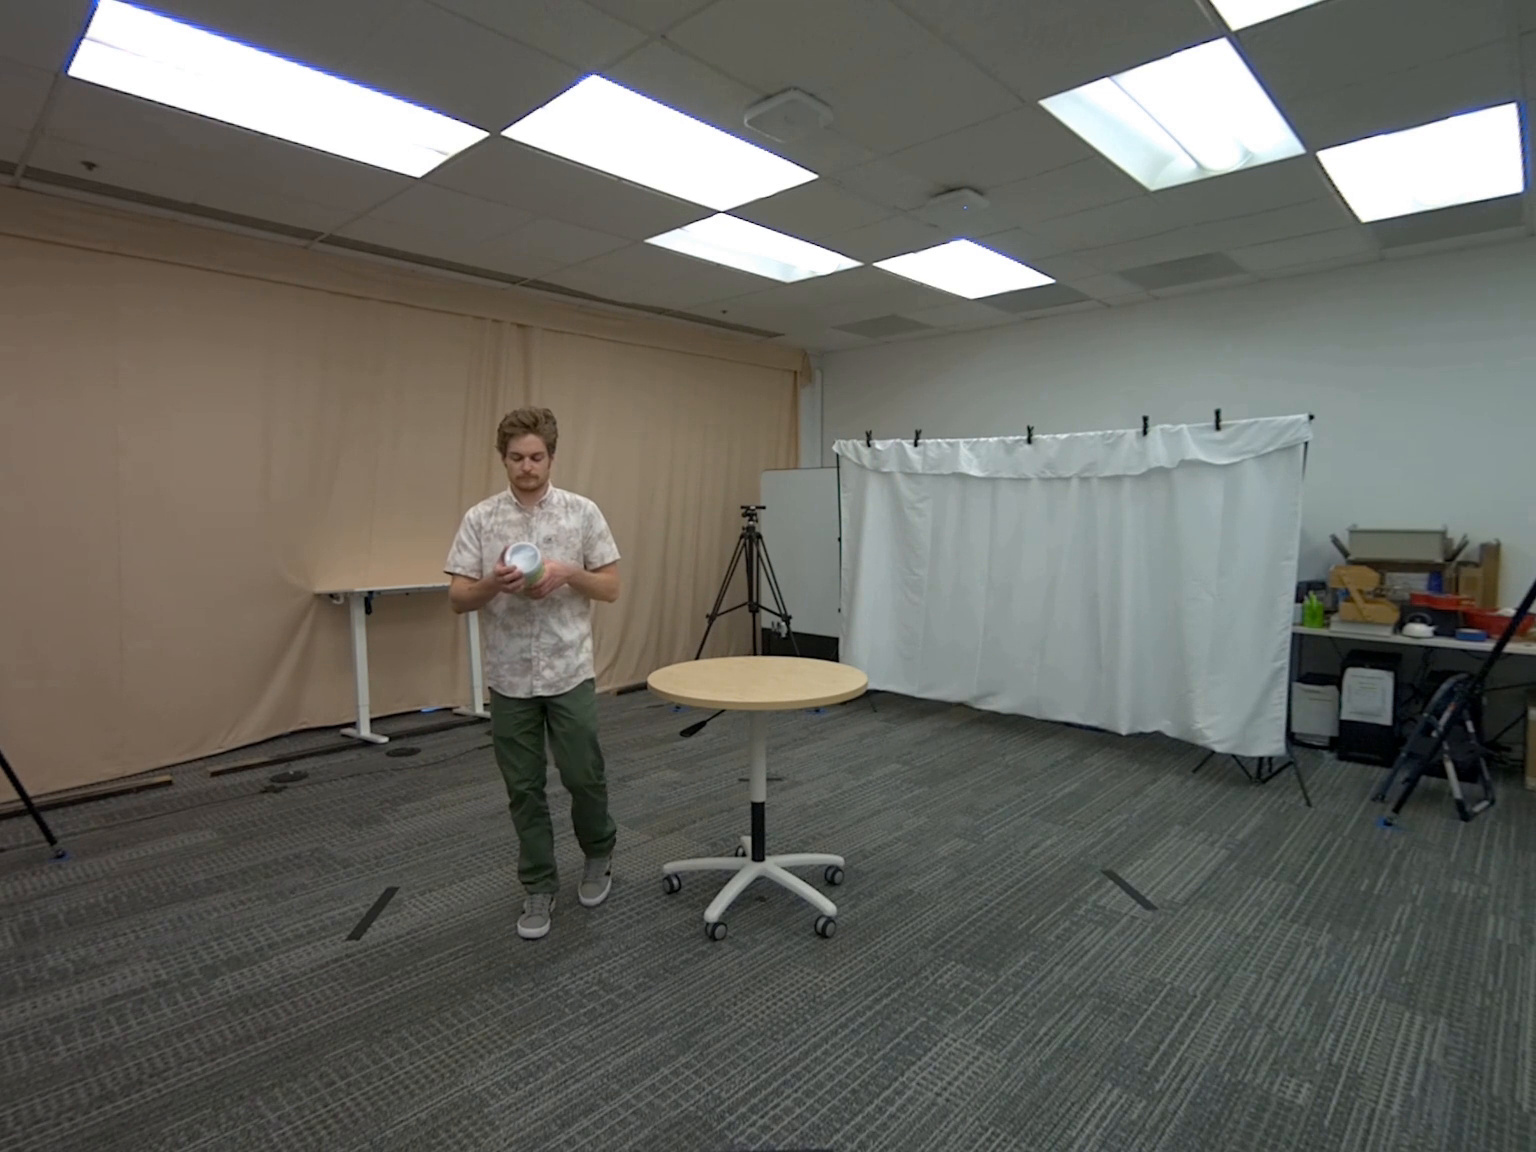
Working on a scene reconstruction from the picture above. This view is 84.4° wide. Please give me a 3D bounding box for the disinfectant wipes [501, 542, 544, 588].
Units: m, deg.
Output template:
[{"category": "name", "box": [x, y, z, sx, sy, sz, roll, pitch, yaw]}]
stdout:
[{"category": "disinfectant wipes", "box": [-0.734, -0.013, 2.582, 0.117, 0.120, 0.215, 0, -26, -7]}]
